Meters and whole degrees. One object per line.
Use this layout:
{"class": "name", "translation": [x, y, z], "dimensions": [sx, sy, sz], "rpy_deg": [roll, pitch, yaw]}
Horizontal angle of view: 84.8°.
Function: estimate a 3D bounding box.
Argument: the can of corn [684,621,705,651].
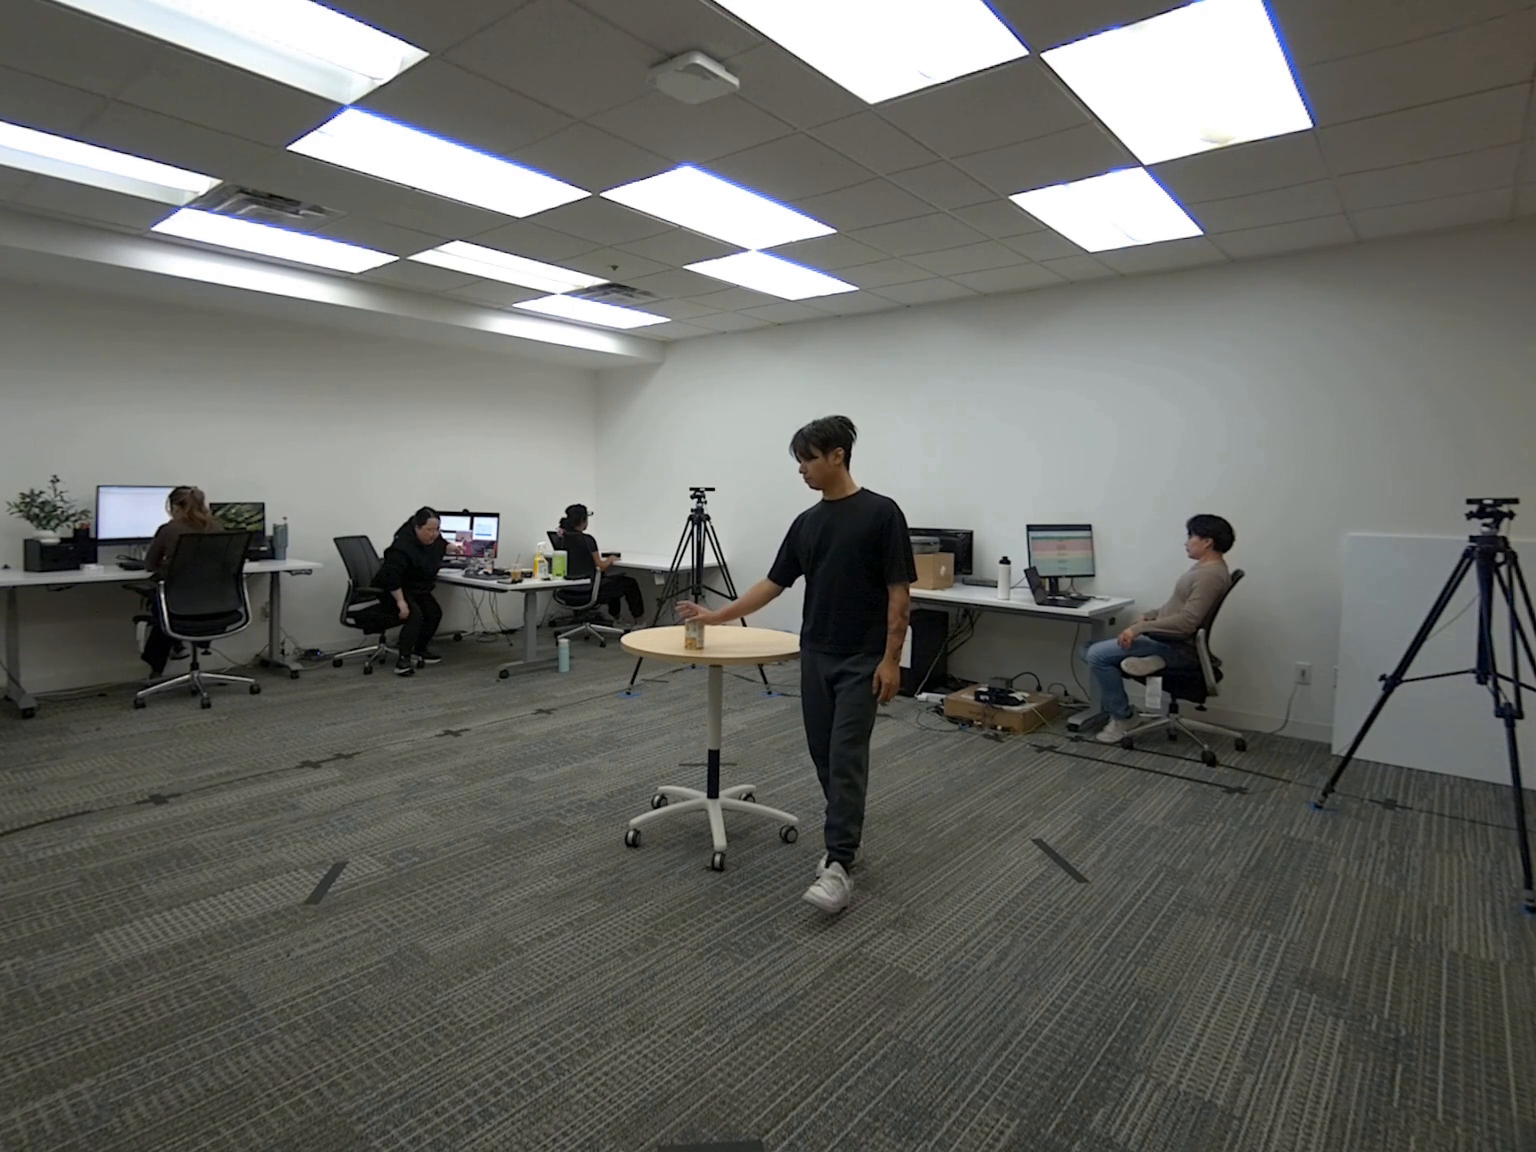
{"class": "can of corn", "translation": [-0.277, 0.214, 3.222], "dimensions": [0.074, 0.111, 0.074], "rpy_deg": [0, 0, -2]}
